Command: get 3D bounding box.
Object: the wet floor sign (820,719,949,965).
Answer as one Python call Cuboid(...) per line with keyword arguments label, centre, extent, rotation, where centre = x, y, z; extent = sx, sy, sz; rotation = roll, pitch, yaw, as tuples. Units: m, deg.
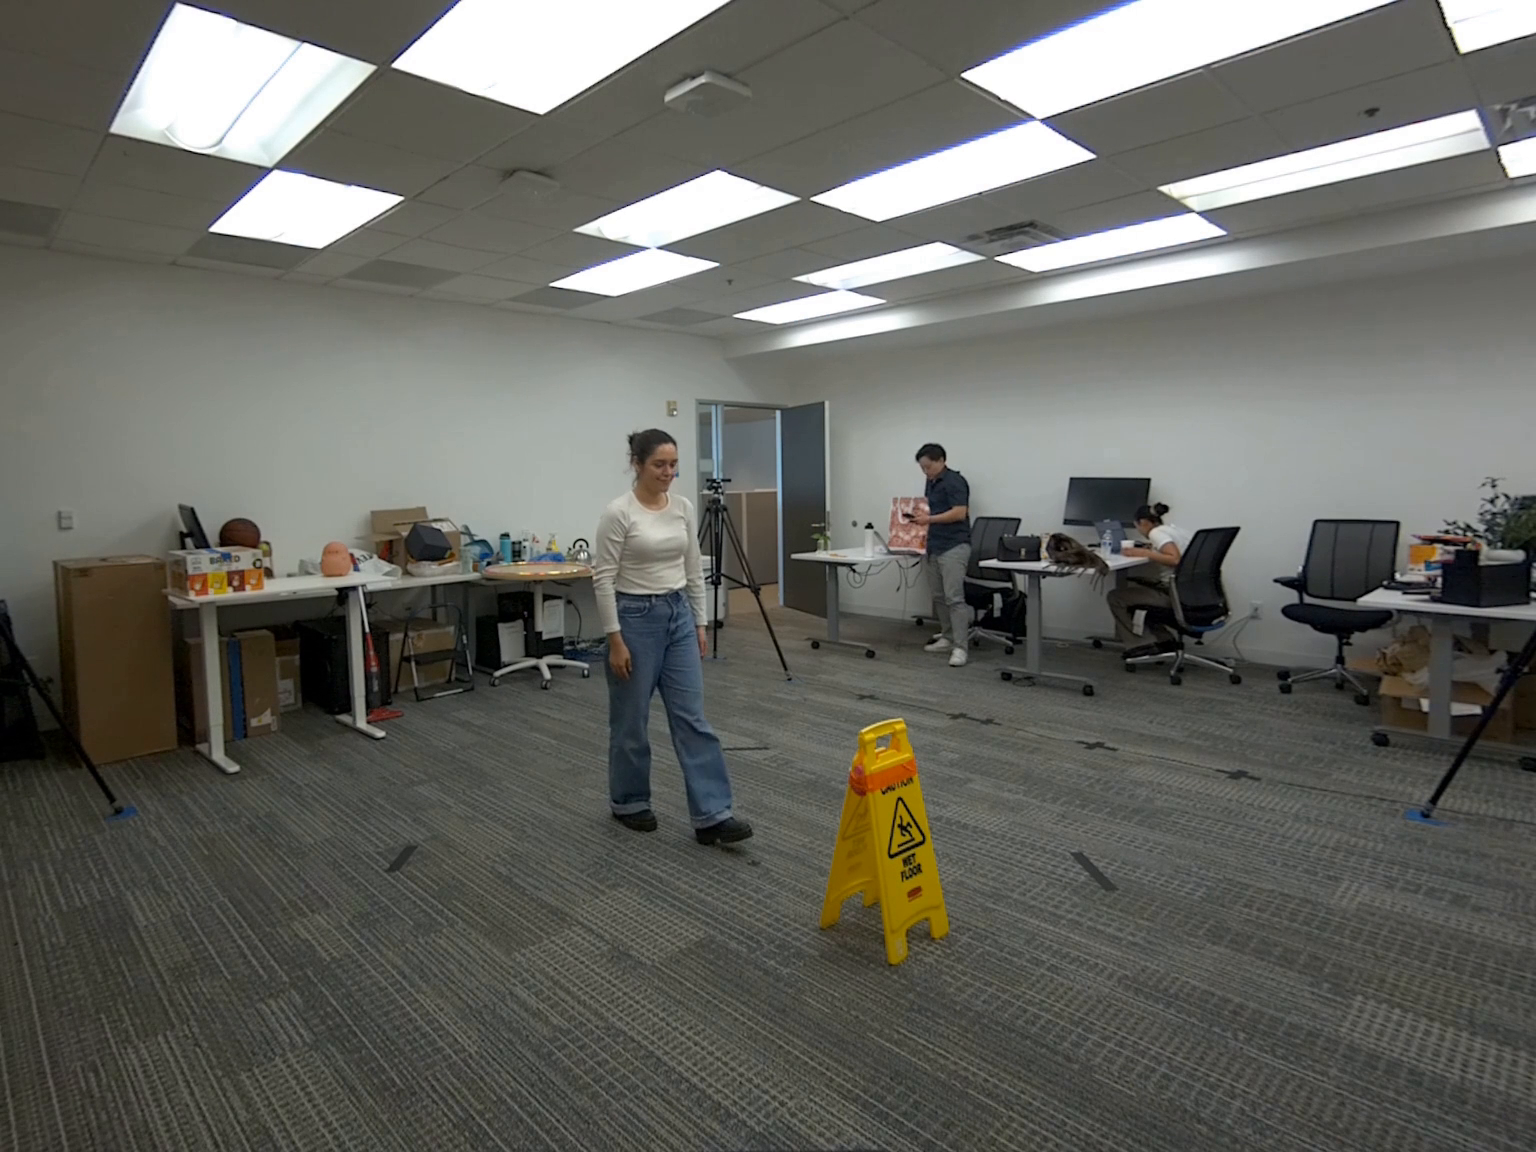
Cuboid(label="wet floor sign", centre=(0.359, 0.771, 2.608), extent=(0.275, 0.643, 0.299), rotation=(-6, 7, -42))
